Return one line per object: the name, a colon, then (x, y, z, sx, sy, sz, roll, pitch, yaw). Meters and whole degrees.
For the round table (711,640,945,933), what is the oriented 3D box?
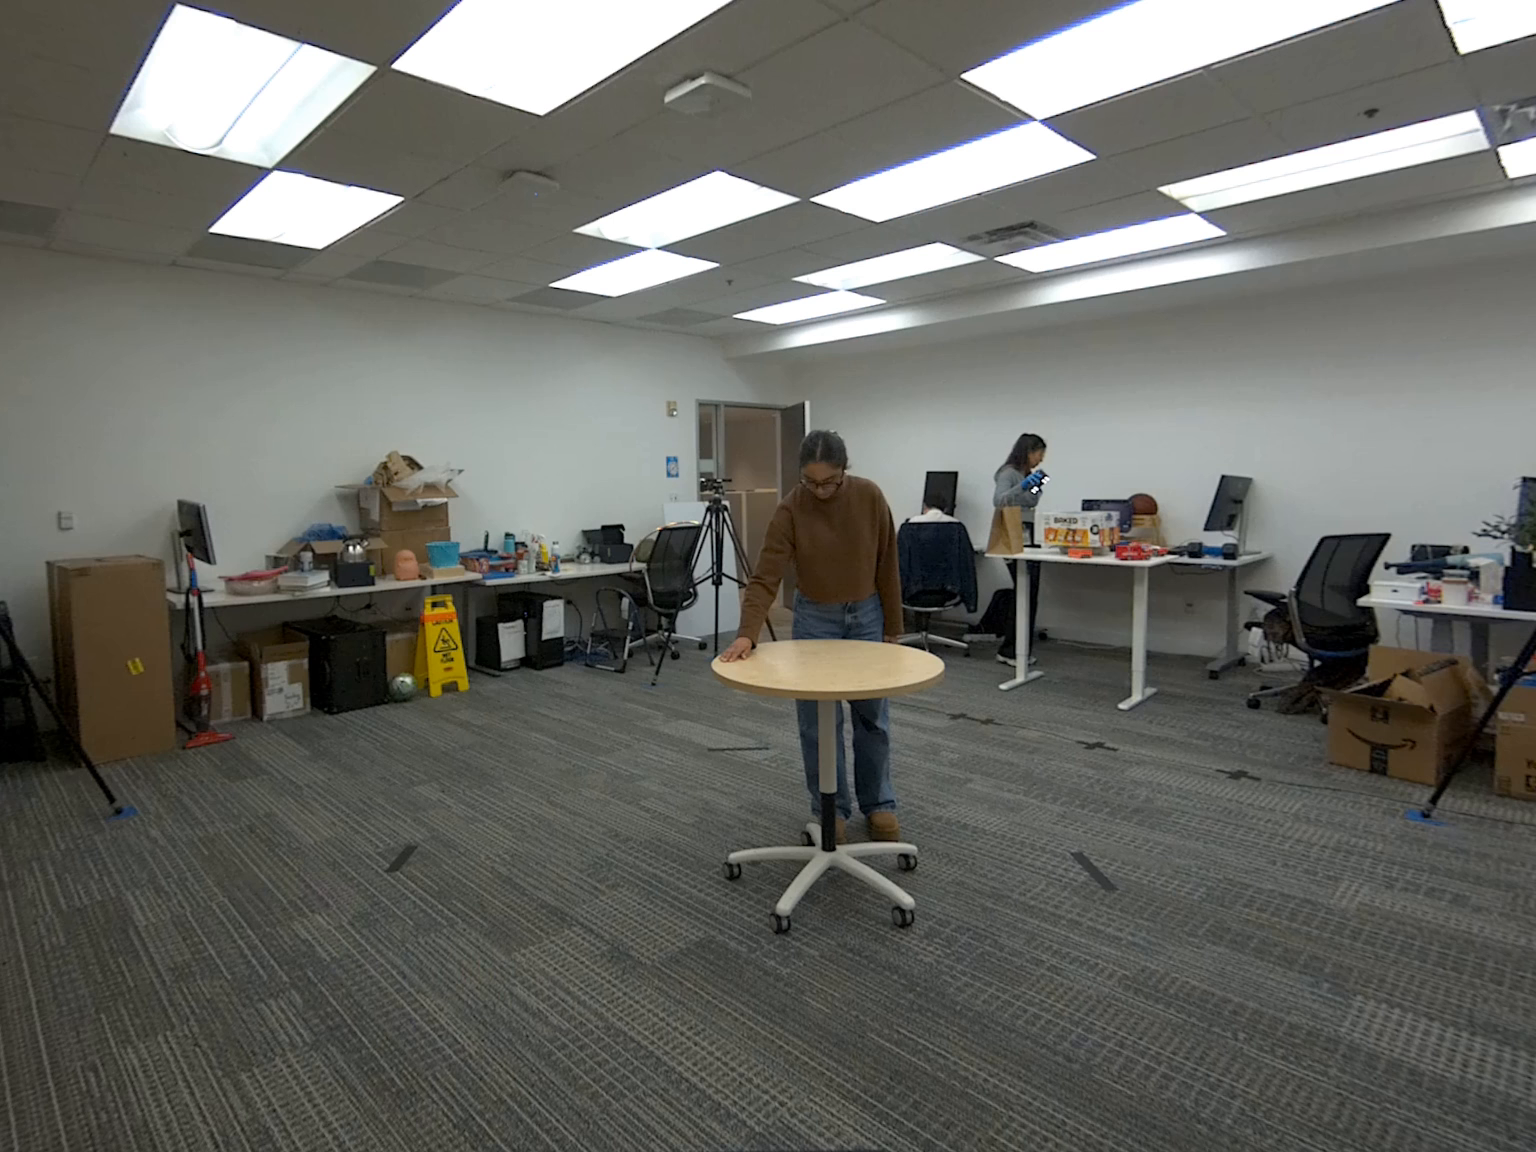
round table: (0.206, 0.681, 2.869, 0.763, 0.790, 0.768, -1, 5, -2)
